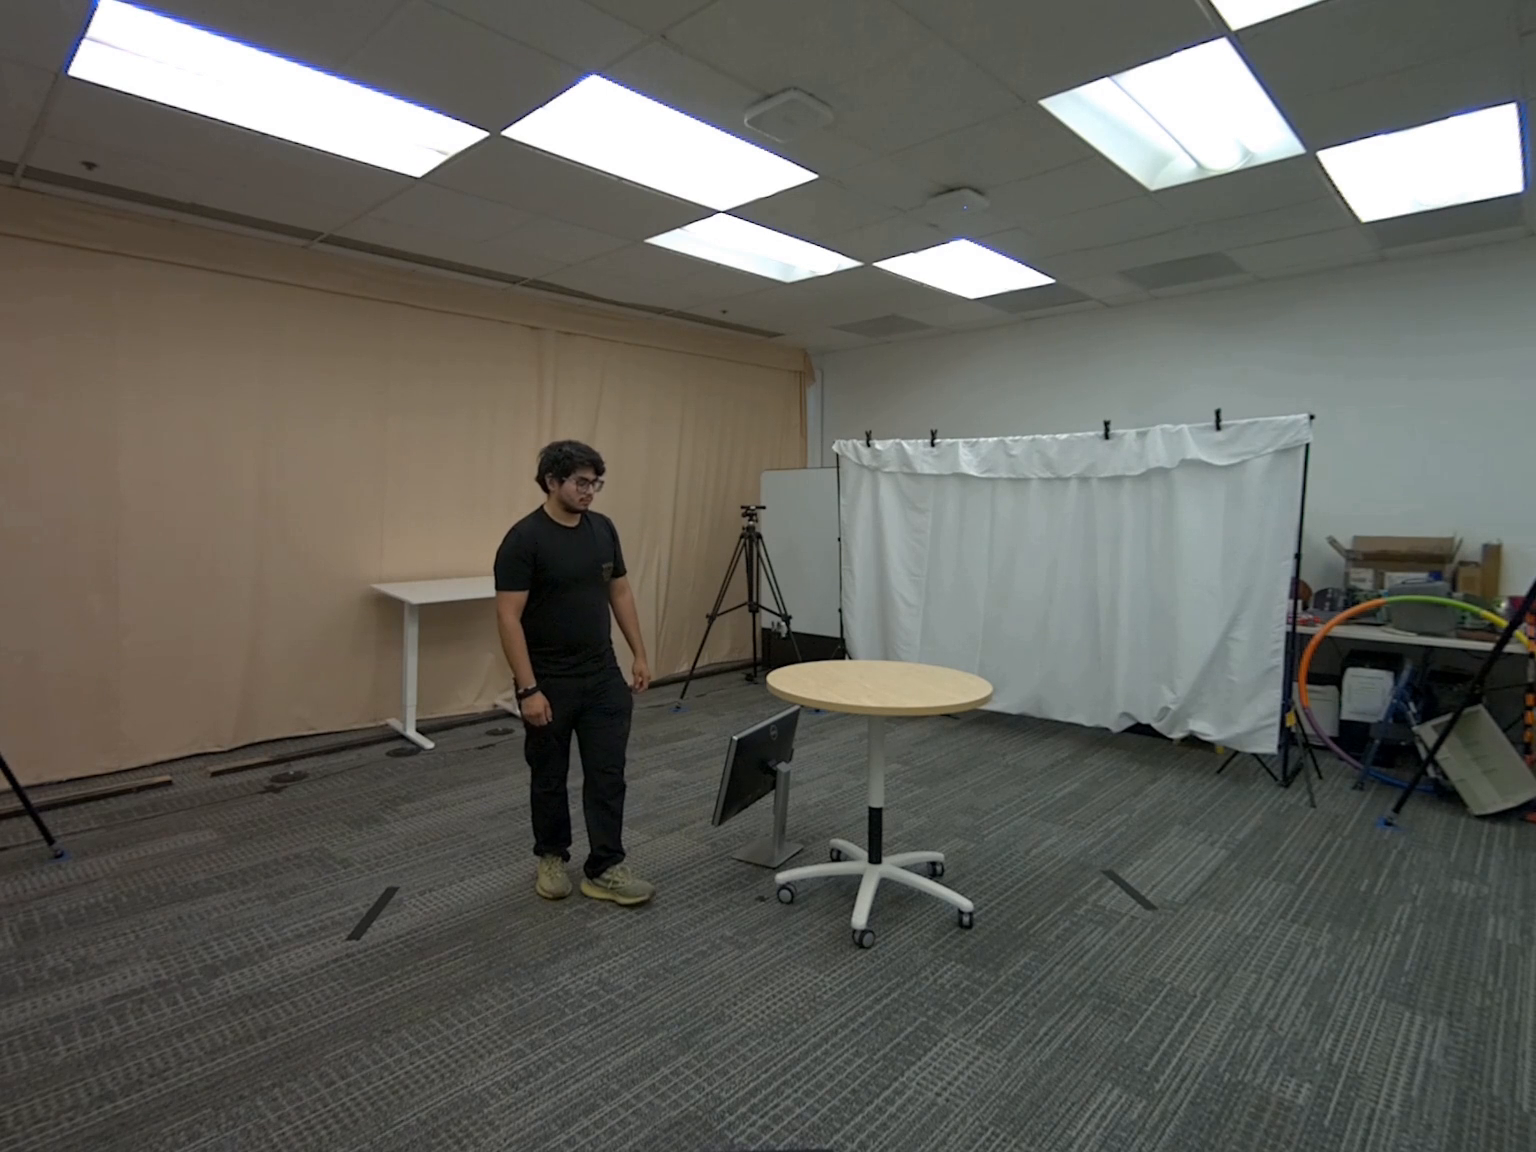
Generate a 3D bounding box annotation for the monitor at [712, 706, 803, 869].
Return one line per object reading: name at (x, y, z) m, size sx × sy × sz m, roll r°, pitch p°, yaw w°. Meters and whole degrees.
monitor at (0.022, 0.847, 3.342) m, size 0.216 × 0.552 × 0.551 m, roll 9°, pitch 8°, yaw 28°
